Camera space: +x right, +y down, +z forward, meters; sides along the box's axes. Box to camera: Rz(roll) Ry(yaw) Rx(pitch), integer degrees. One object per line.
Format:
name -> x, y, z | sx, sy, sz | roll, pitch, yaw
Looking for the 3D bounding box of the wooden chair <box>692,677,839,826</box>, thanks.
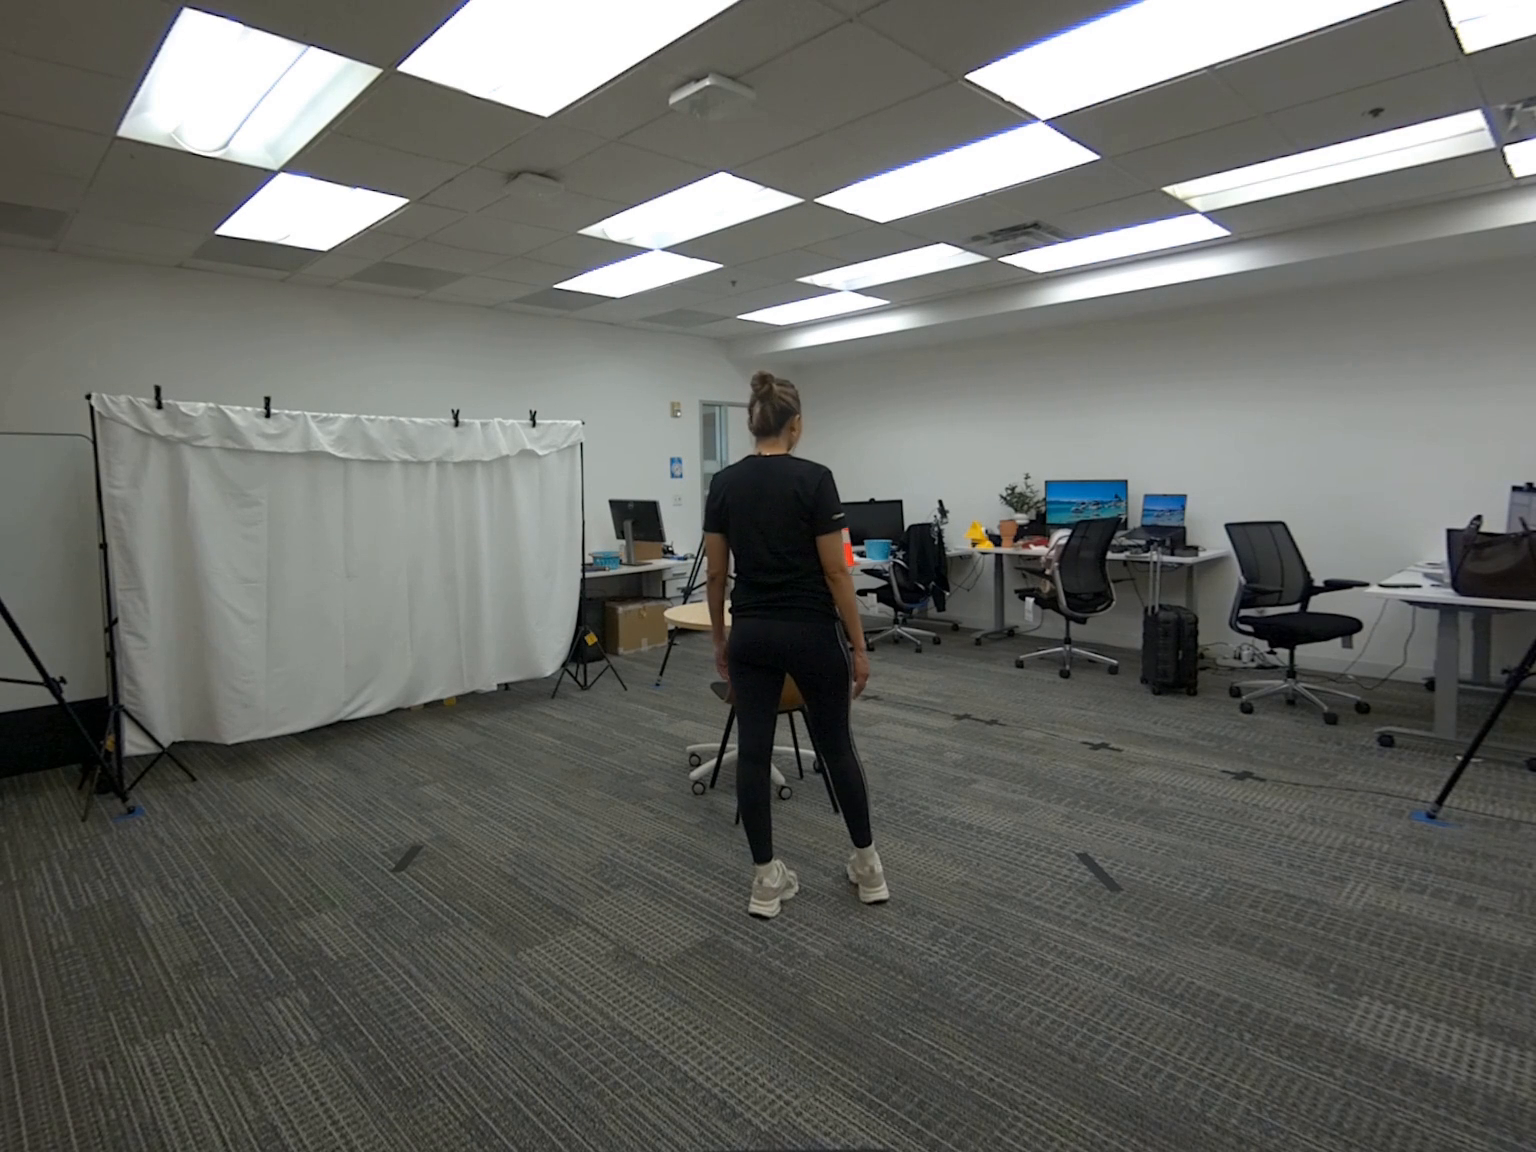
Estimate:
wooden chair -> 0.007, 0.549, 3.708 | 0.471, 0.871, 0.534 | -2, 8, -16
